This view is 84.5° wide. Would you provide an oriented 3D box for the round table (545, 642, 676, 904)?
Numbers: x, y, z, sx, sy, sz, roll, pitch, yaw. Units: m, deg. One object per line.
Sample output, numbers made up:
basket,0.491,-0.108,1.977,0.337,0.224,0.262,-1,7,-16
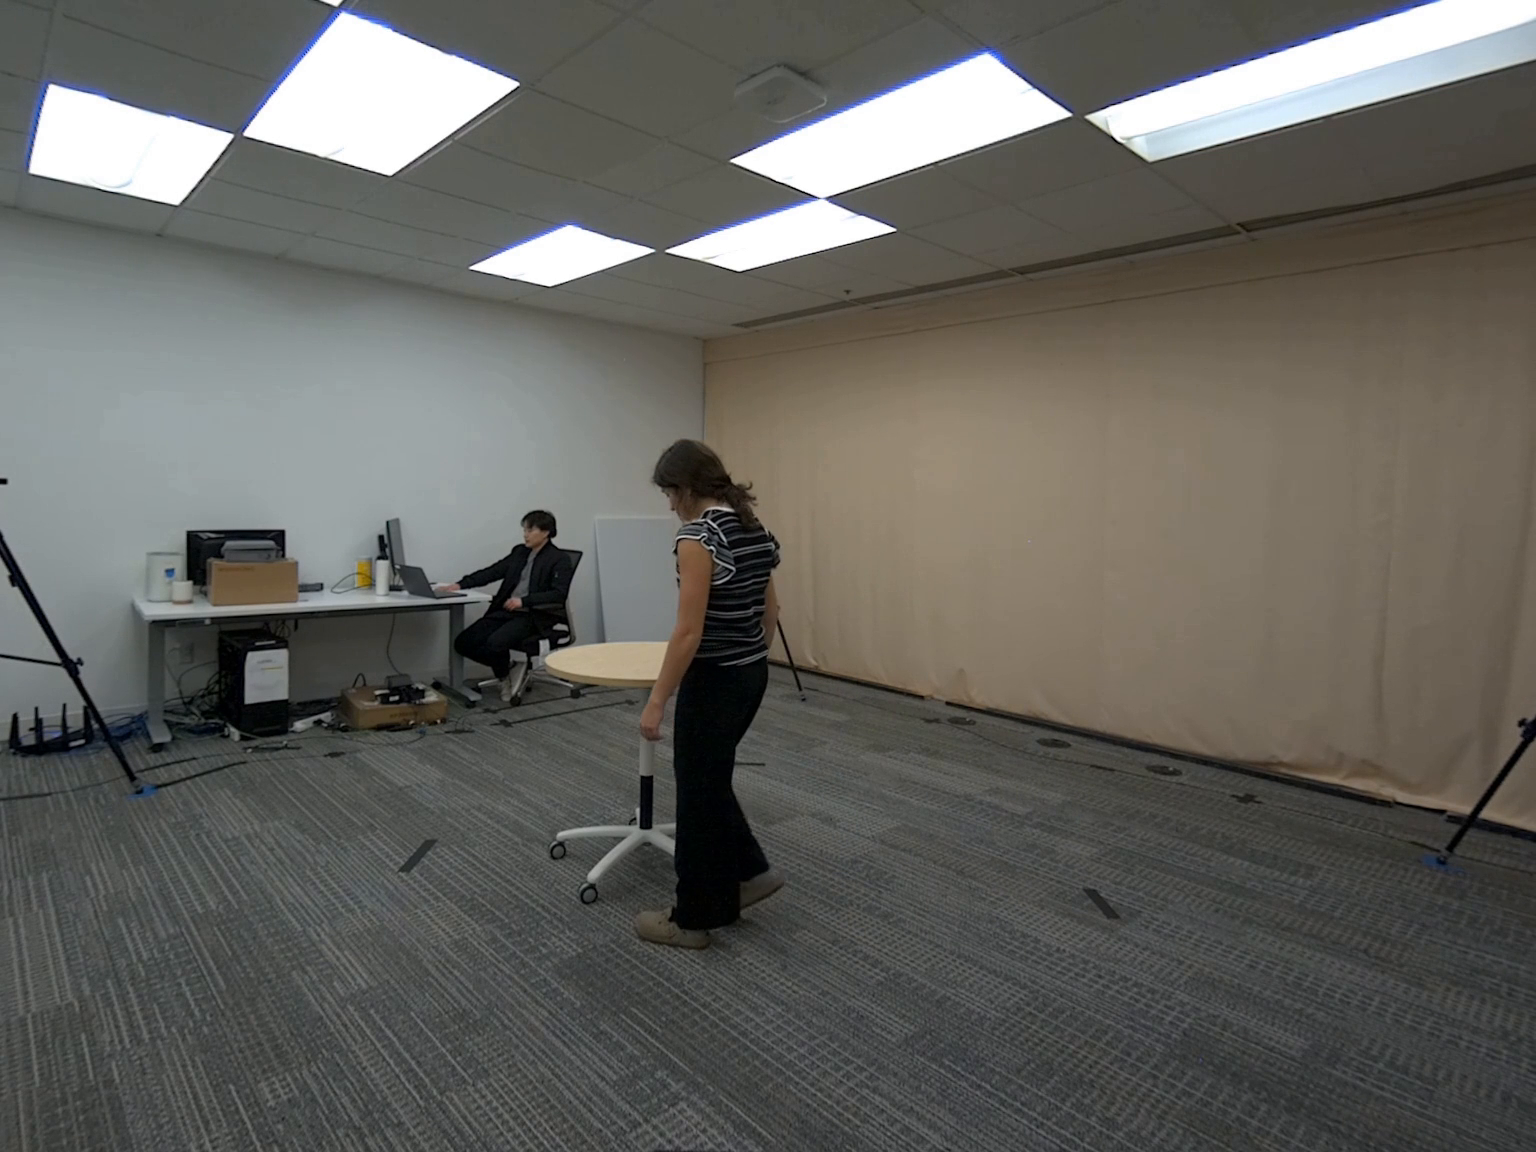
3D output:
round table,-0.459,0.701,3.155,0.784,0.784,0.788,1,4,-1
